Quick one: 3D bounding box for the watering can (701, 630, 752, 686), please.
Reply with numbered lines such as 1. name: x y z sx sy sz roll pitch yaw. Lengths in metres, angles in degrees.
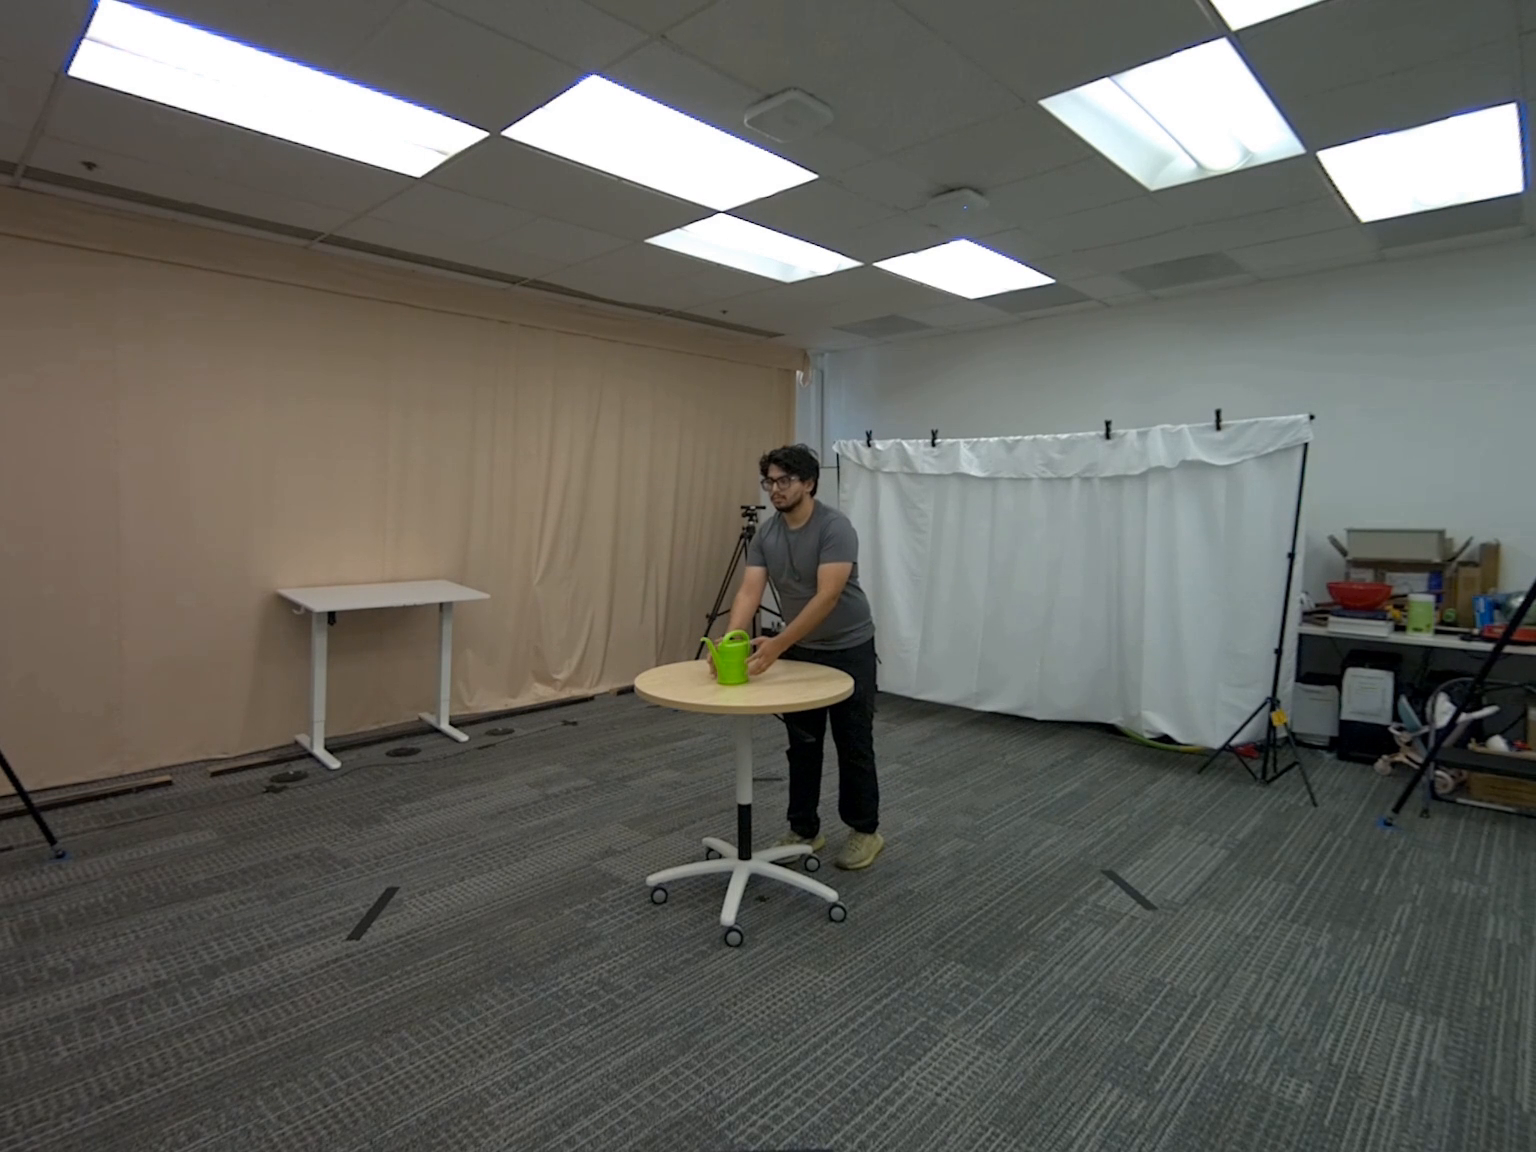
1. watering can: -0.148 0.281 2.889 0.269 0.176 0.101 -1 4 -42
